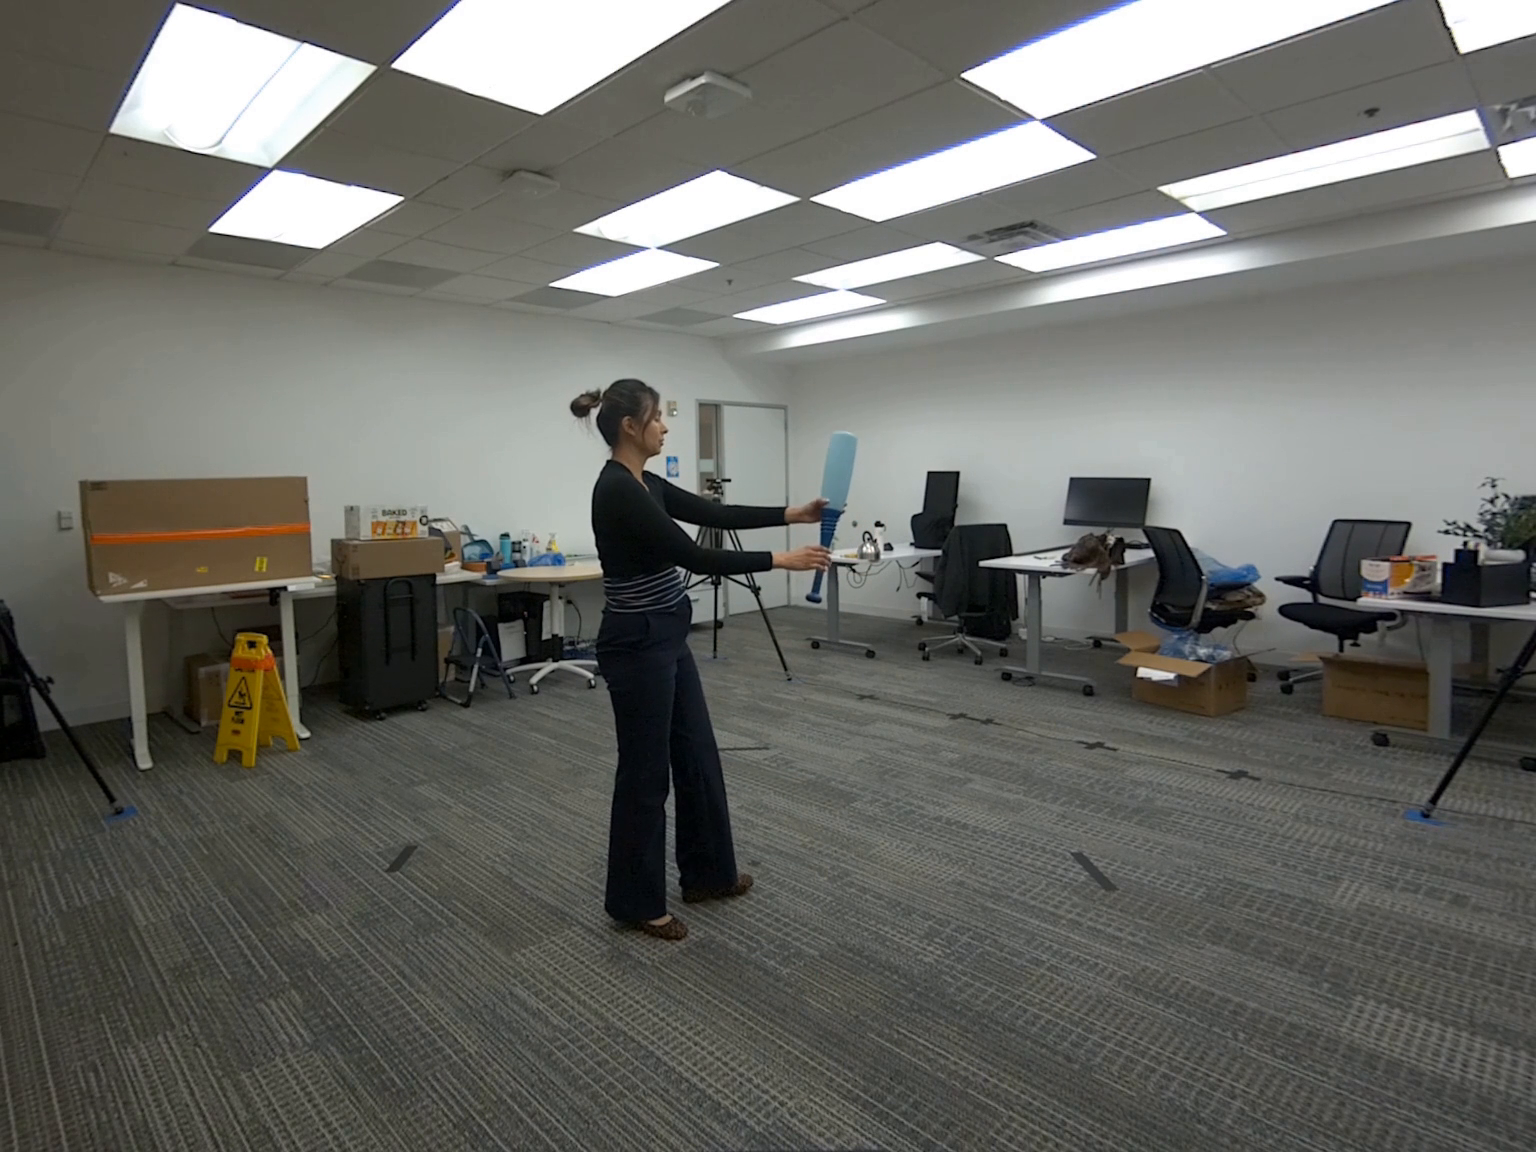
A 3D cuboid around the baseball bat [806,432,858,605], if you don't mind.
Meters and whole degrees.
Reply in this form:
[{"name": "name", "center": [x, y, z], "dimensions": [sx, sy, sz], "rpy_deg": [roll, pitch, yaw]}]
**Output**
[{"name": "baseball bat", "center": [0.197, -0.184, 2.663], "dimensions": [0.089, 0.546, 0.088], "rpy_deg": [10, -7, -1]}]
